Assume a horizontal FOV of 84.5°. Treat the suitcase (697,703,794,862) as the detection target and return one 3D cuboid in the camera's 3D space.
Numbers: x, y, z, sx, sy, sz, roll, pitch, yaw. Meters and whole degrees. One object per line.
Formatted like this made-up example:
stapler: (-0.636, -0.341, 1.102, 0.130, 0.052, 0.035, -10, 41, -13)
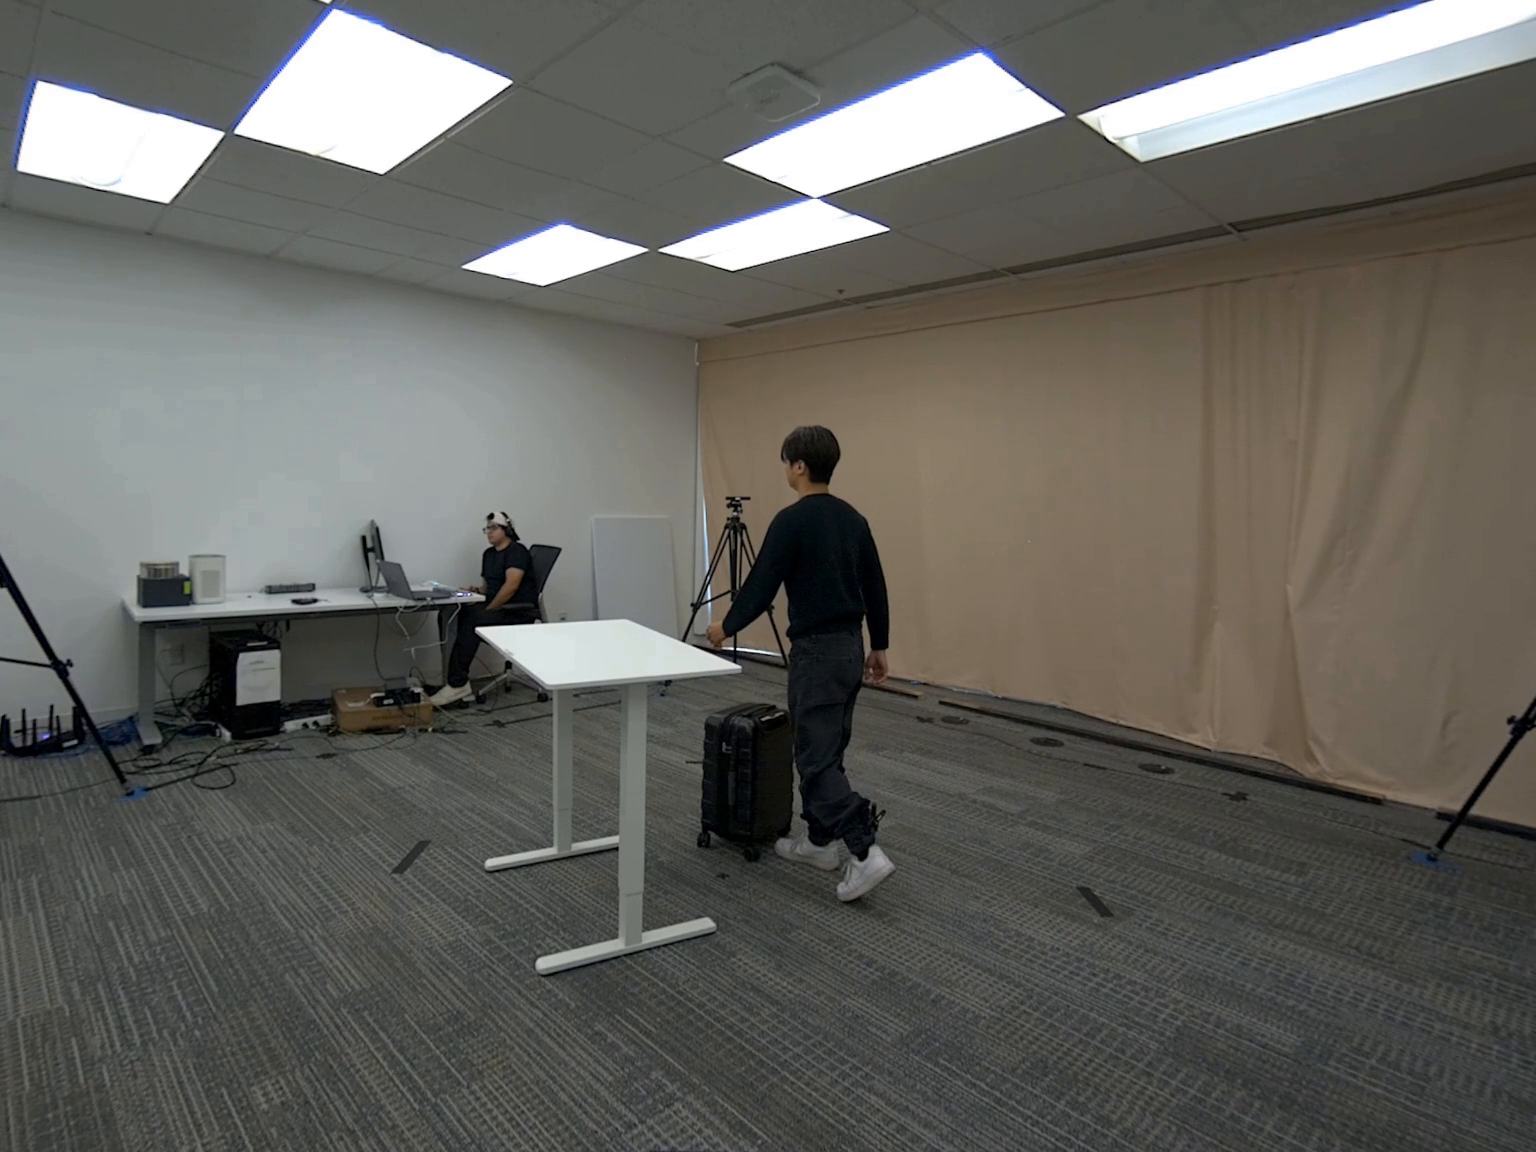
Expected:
suitcase: (-0.087, 0.800, 3.430, 0.254, 0.548, 0.367, 4, 4, 34)
